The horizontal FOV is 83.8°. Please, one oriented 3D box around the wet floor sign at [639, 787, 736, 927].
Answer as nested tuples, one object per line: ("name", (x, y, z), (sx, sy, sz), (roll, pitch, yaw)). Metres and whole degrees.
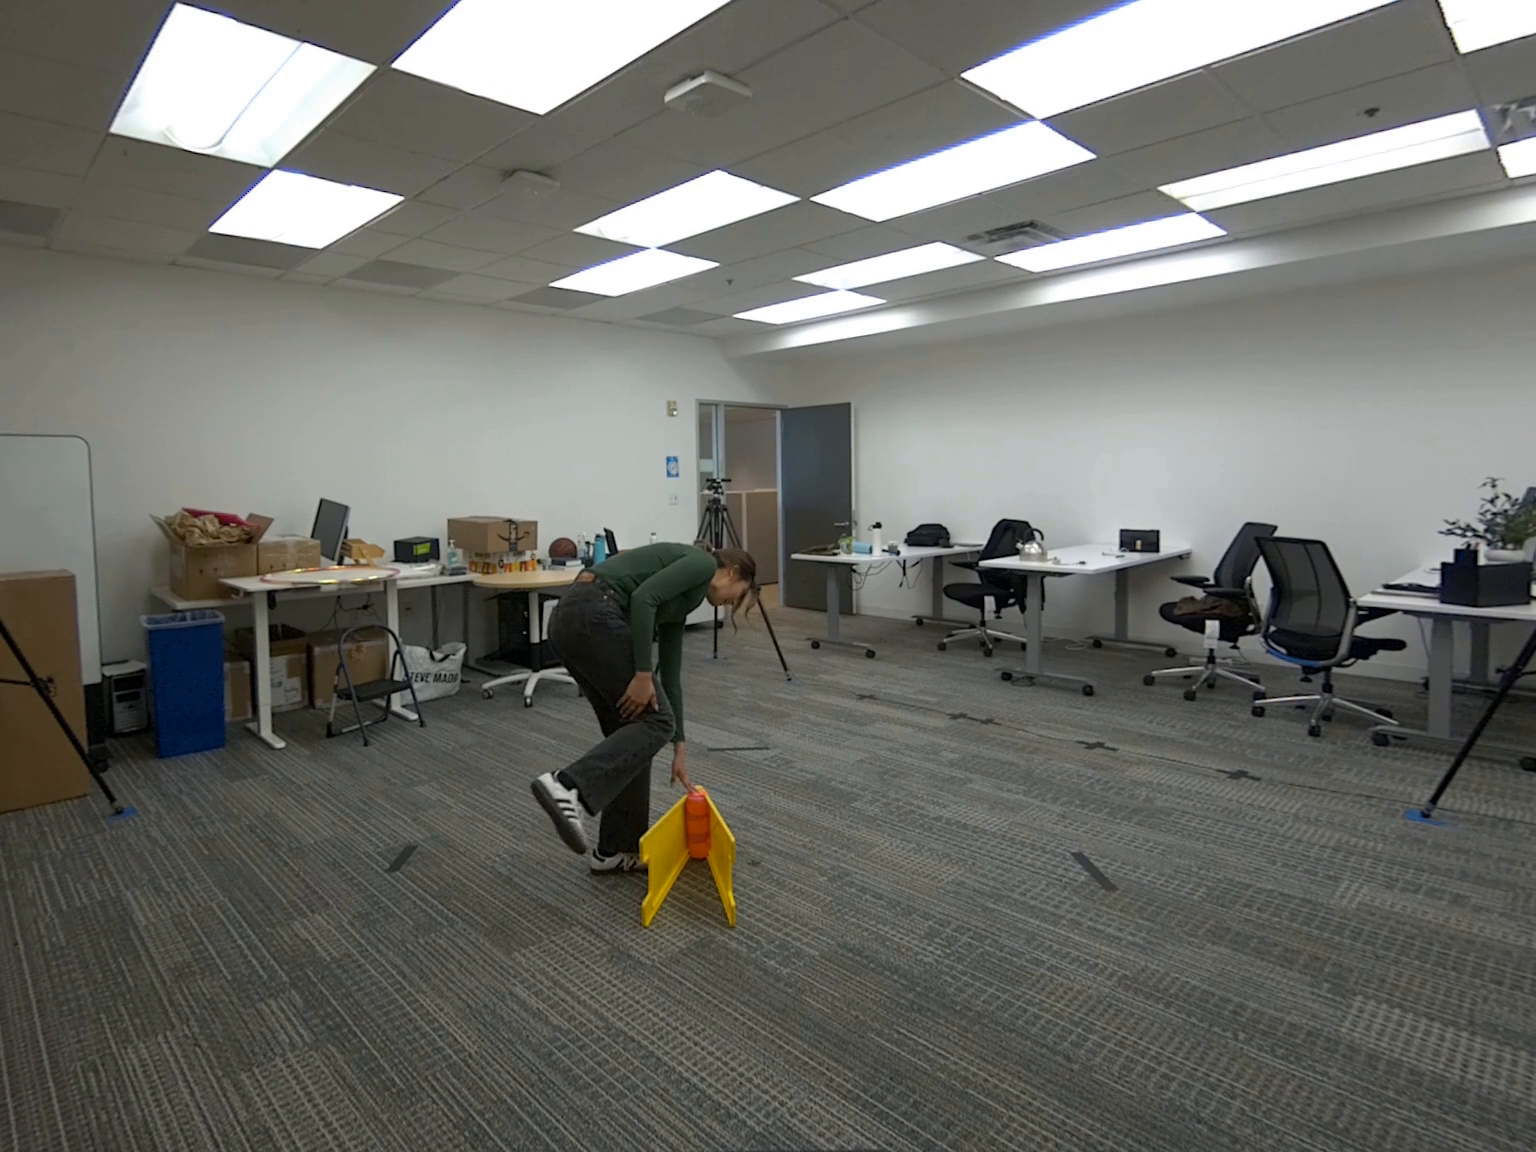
("wet floor sign", (-0.256, 0.927, 2.988), (0.290, 0.281, 0.648), (-1, 4, -1))
